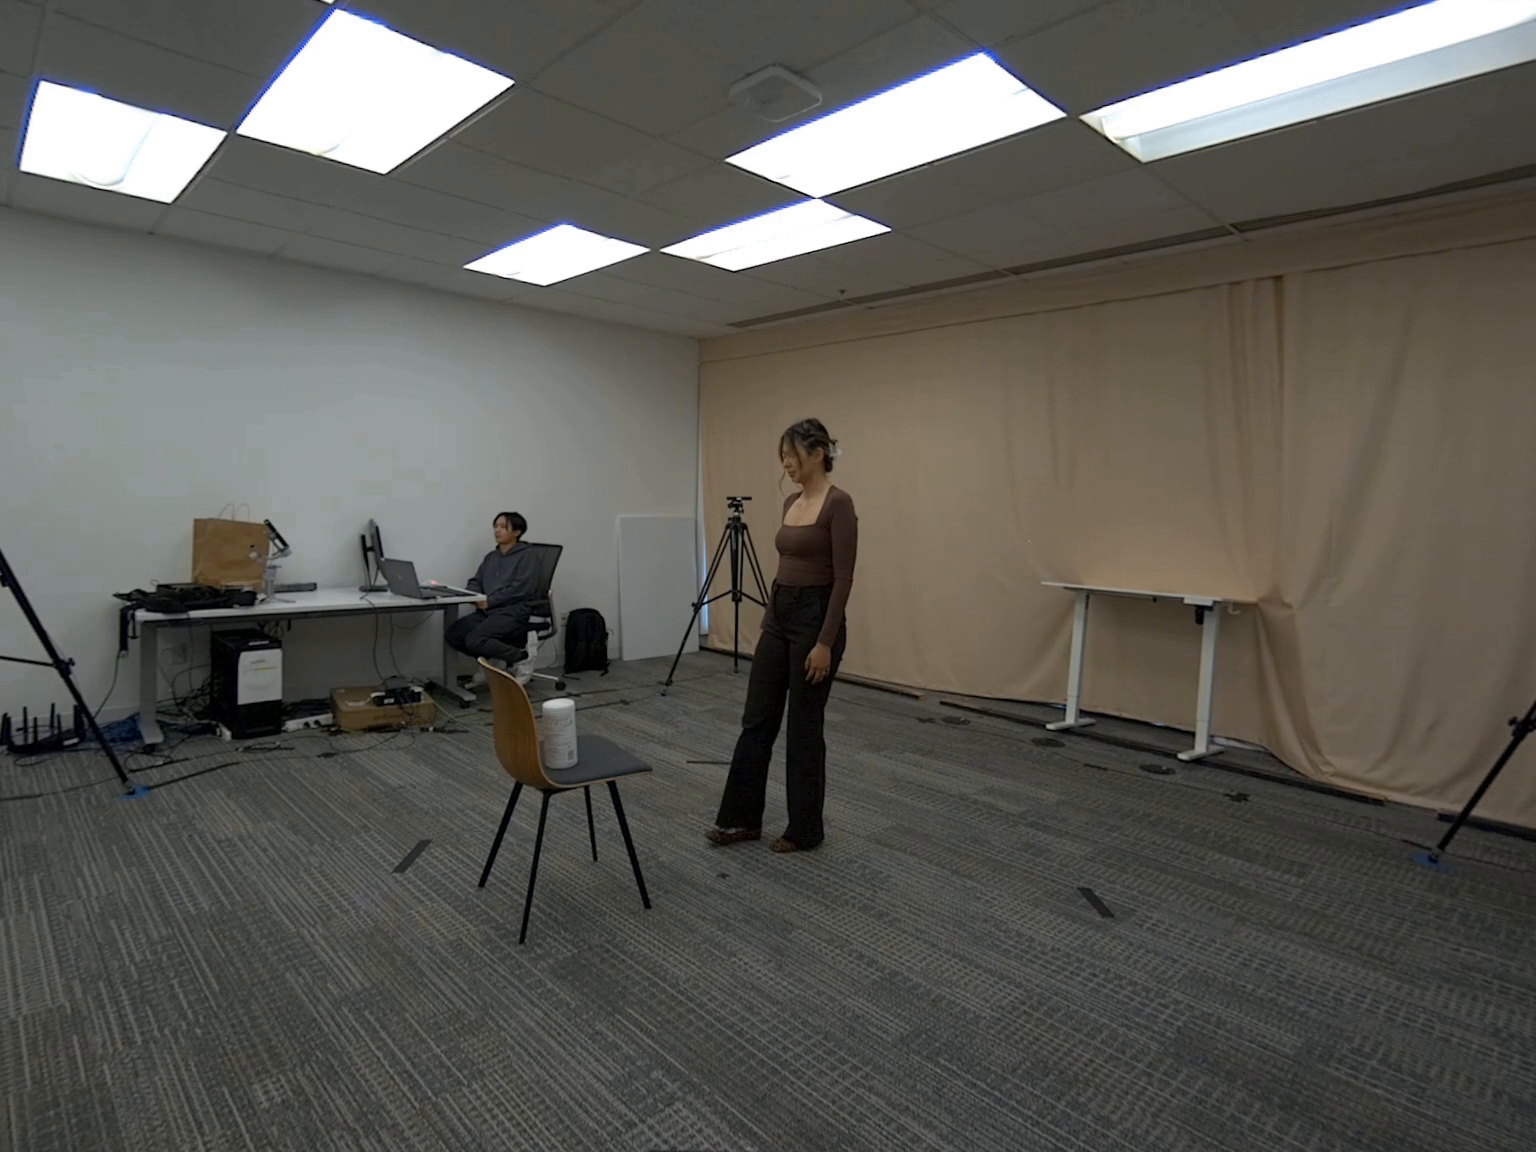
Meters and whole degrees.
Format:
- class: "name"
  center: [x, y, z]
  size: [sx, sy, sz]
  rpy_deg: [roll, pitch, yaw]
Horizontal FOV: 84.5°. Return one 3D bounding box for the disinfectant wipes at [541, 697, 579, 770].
- class: "disinfectant wipes"
  center: [-0.720, 0.543, 2.851]
  size: [0.118, 0.216, 0.118]
  rpy_deg: [-2, 6, -1]
